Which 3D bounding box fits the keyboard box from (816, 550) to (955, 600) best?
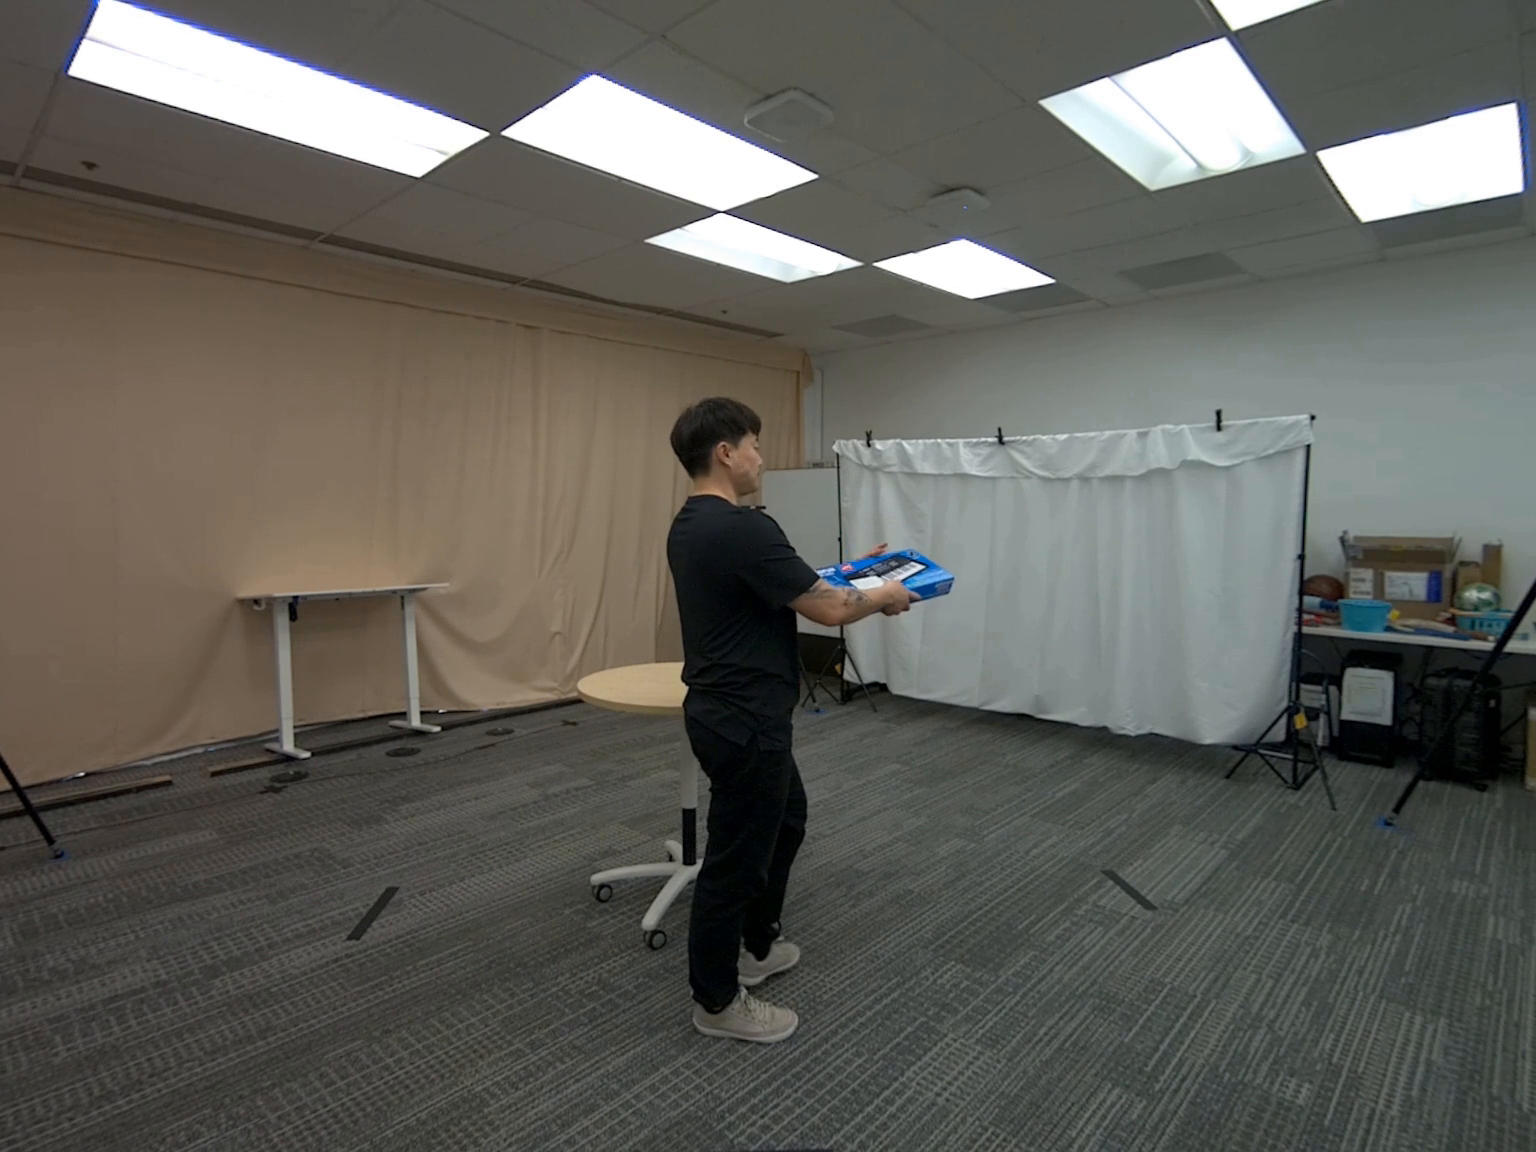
[{"bbox_3d":[0.323,0.019,2.329,0.425,0.058,0.182,-12,36,-36],"label":"keyboard box"}]
